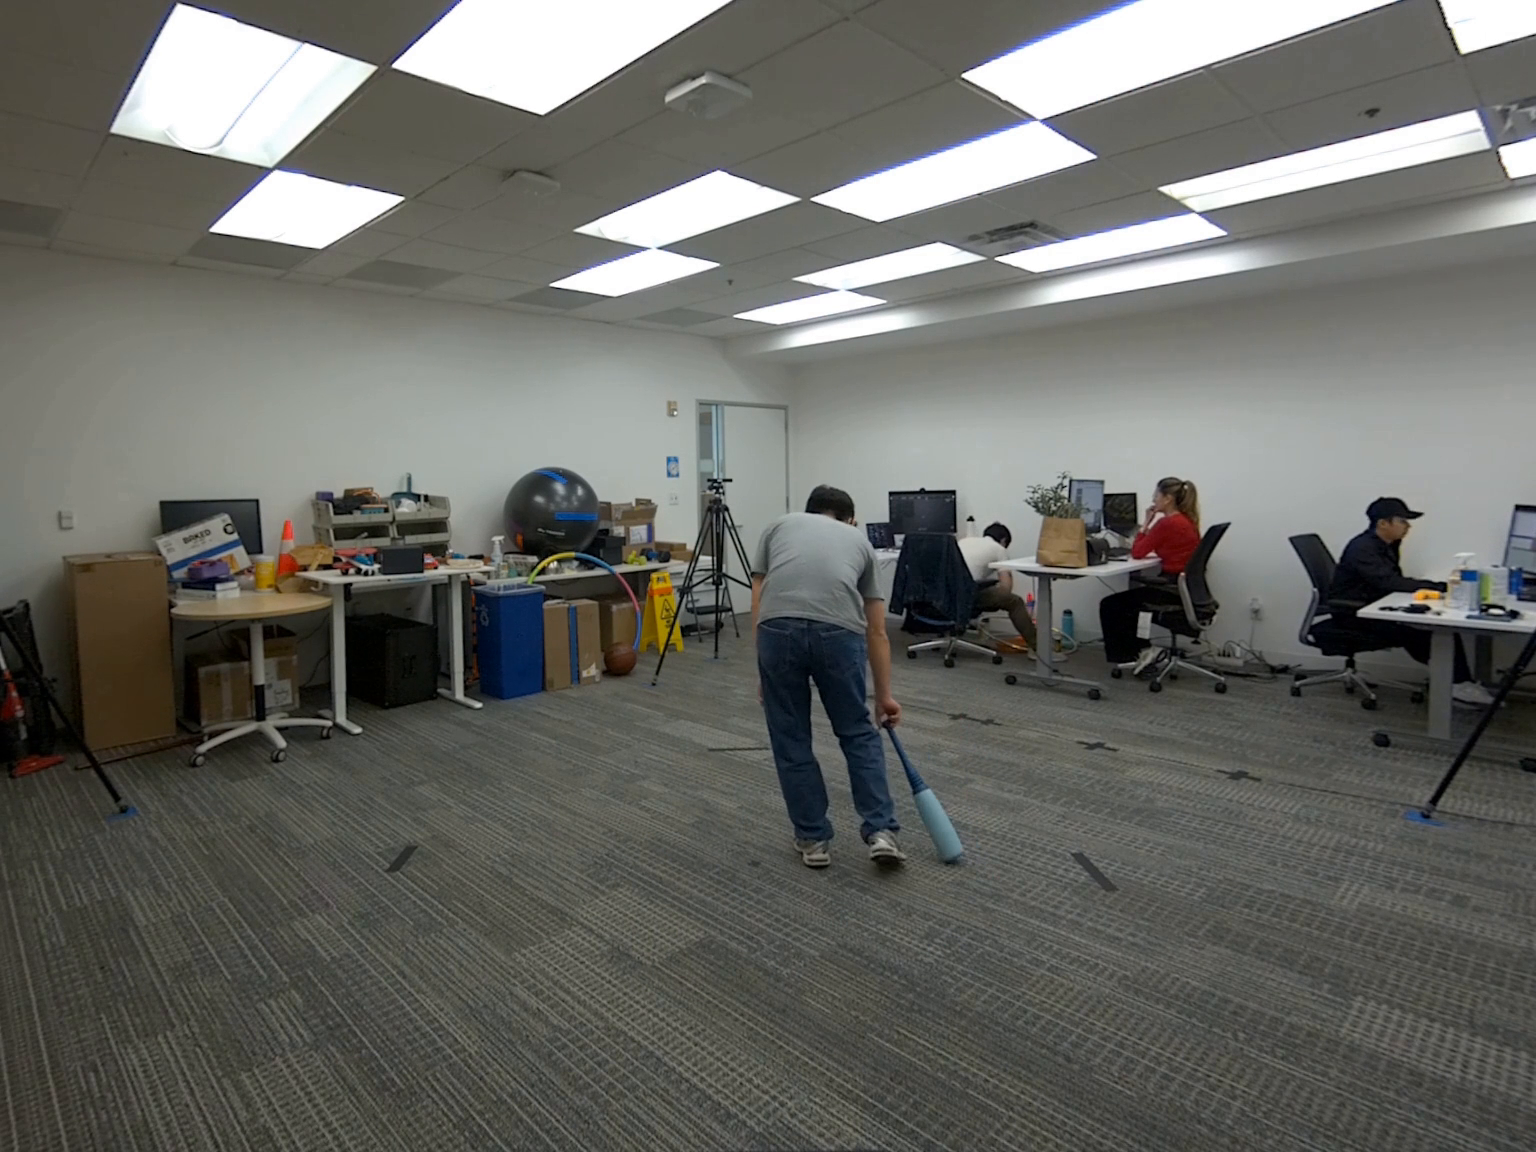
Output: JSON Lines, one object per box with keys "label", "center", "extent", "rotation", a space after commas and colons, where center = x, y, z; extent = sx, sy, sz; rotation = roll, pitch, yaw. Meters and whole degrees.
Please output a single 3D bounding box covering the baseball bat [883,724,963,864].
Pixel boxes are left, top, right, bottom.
{"label": "baseball bat", "center": [0.563, 0.788, 3.185], "extent": [0.088, 0.559, 0.087], "rotation": [-20, -26, -11]}
